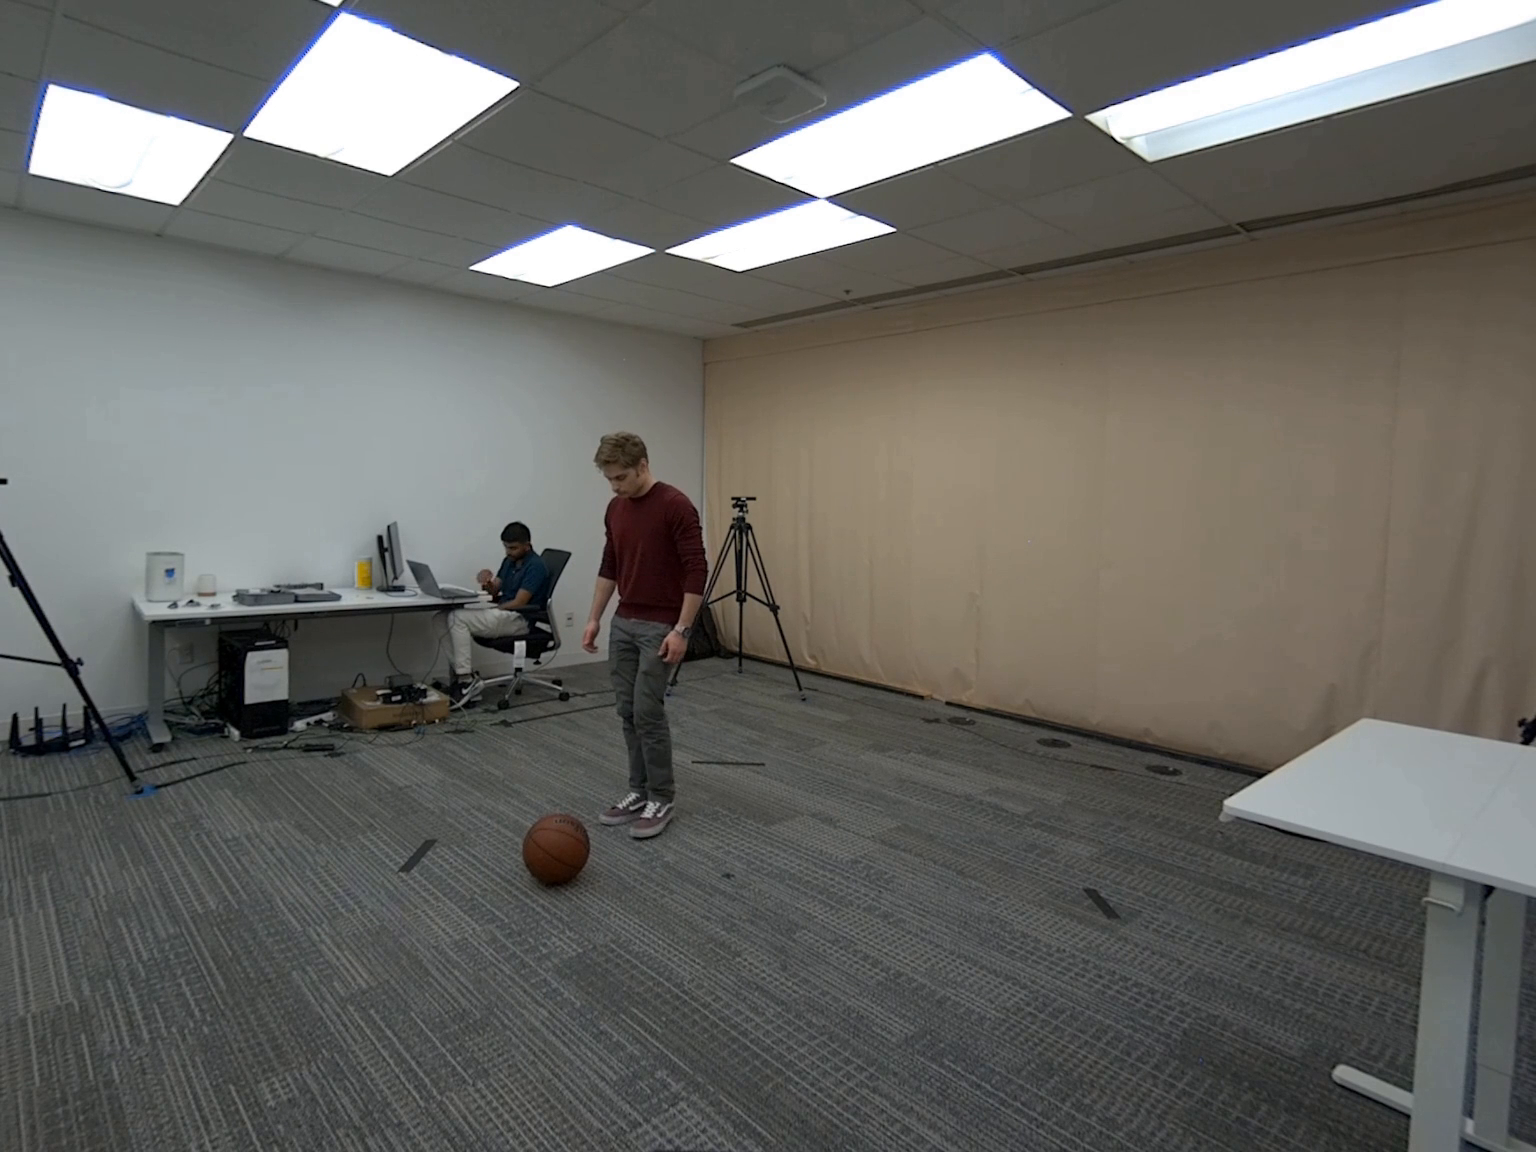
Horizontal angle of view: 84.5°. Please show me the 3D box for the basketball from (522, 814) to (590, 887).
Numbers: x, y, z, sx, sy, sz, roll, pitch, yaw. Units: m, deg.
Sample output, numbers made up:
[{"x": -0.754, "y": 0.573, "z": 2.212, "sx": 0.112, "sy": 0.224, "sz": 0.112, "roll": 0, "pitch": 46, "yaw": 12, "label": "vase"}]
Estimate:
[{"x": -0.771, "y": 0.985, "z": 3.026, "sx": 0.236, "sy": 0.235, "sz": 0.237, "roll": 1, "pitch": 4, "yaw": -1, "label": "basketball"}]
